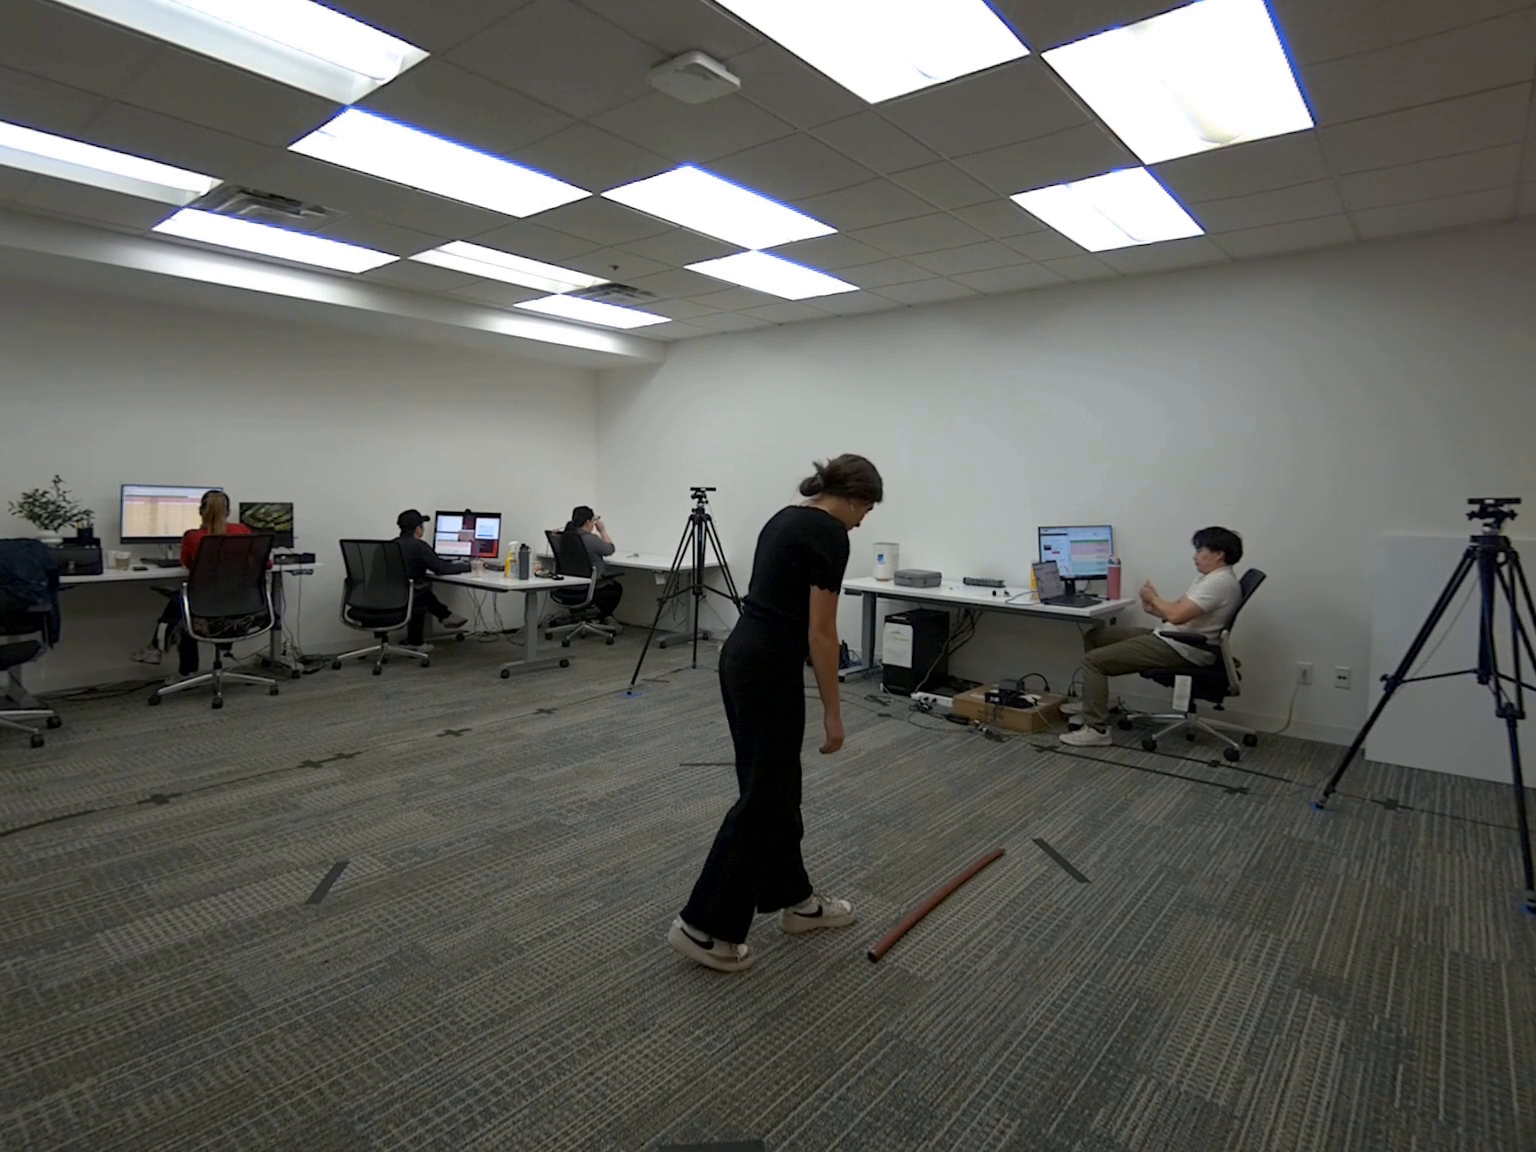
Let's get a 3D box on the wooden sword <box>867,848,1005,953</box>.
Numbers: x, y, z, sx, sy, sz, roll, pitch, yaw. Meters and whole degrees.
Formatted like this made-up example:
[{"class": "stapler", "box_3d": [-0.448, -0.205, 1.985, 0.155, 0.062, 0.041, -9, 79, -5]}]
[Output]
[{"class": "wooden sword", "box_3d": [0.580, 1.072, 2.939, 0.052, 0.024, 0.995, -13, -5, 38]}]
